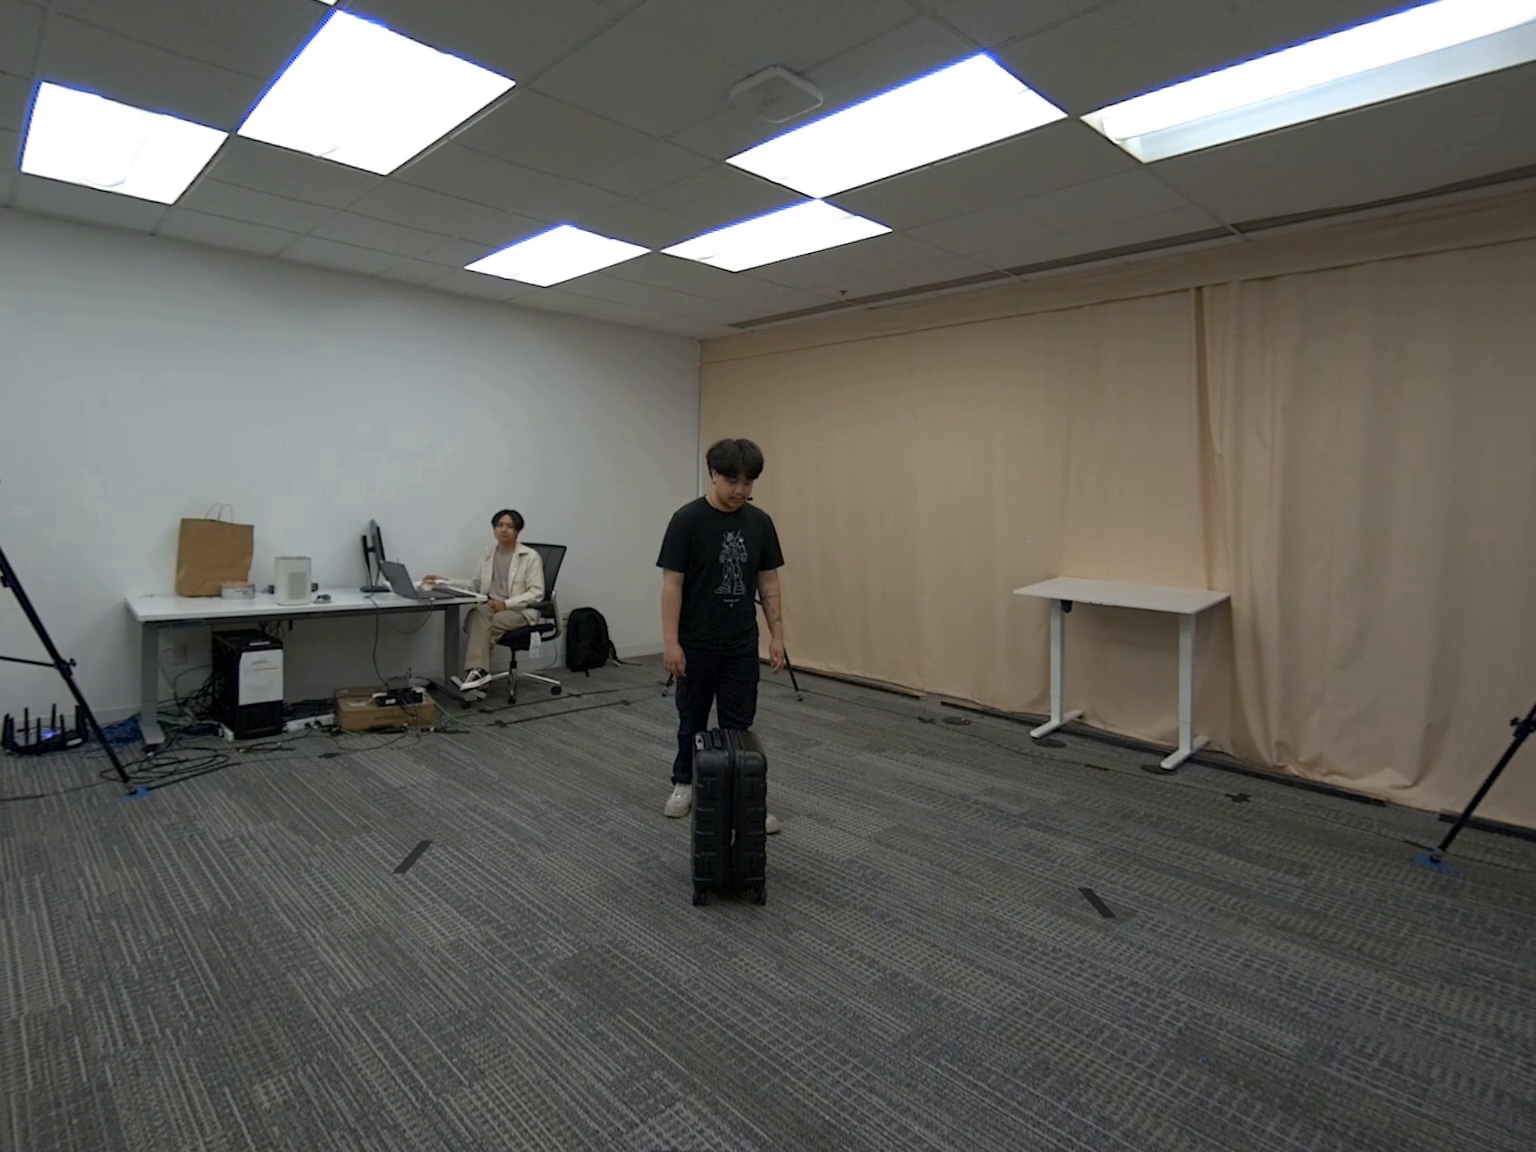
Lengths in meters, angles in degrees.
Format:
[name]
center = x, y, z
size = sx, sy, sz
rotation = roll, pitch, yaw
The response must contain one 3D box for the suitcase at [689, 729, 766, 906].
[suitcase]
center = -0.156, 0.845, 3.003
size = 0.247, 0.548, 0.378
rotation = 1, 3, -7
